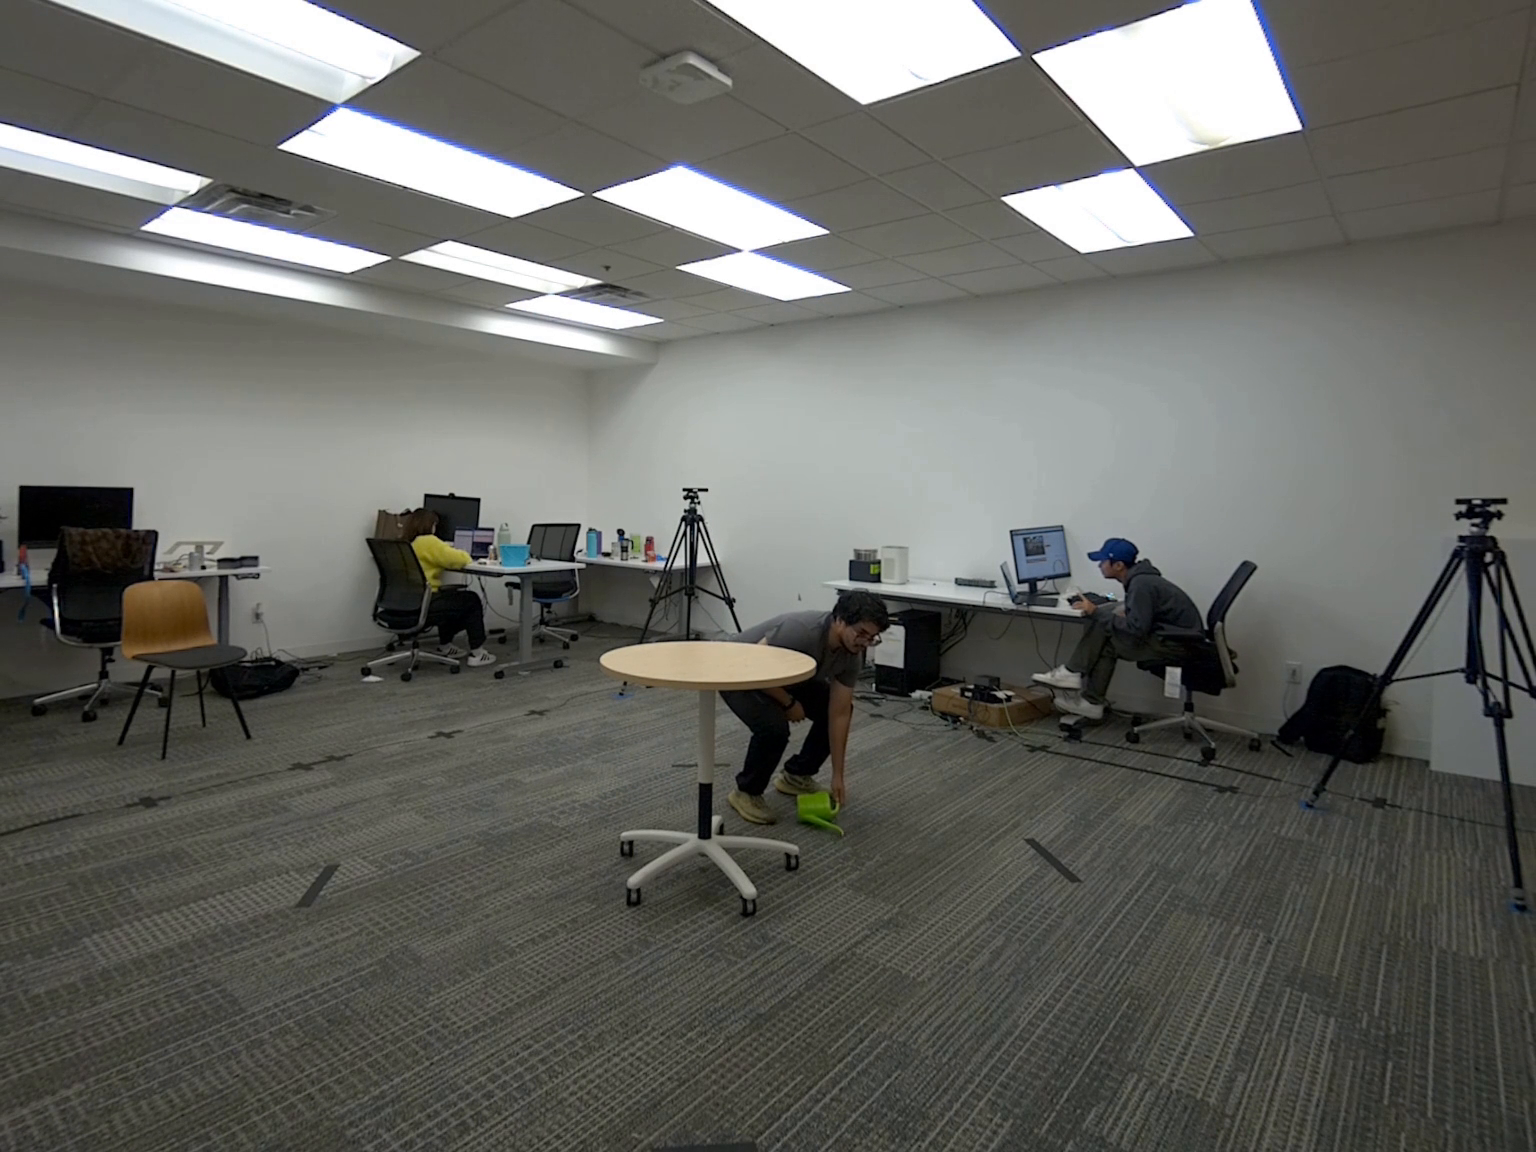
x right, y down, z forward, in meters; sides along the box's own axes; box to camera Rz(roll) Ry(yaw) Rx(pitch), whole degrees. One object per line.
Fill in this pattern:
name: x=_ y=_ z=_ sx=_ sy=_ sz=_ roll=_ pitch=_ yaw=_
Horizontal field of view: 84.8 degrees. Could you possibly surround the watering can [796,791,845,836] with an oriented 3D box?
watering can: x=0.203 y=0.981 z=3.547 sx=0.177 sy=0.097 sz=0.280 roll=-6 pitch=9 yaw=0
